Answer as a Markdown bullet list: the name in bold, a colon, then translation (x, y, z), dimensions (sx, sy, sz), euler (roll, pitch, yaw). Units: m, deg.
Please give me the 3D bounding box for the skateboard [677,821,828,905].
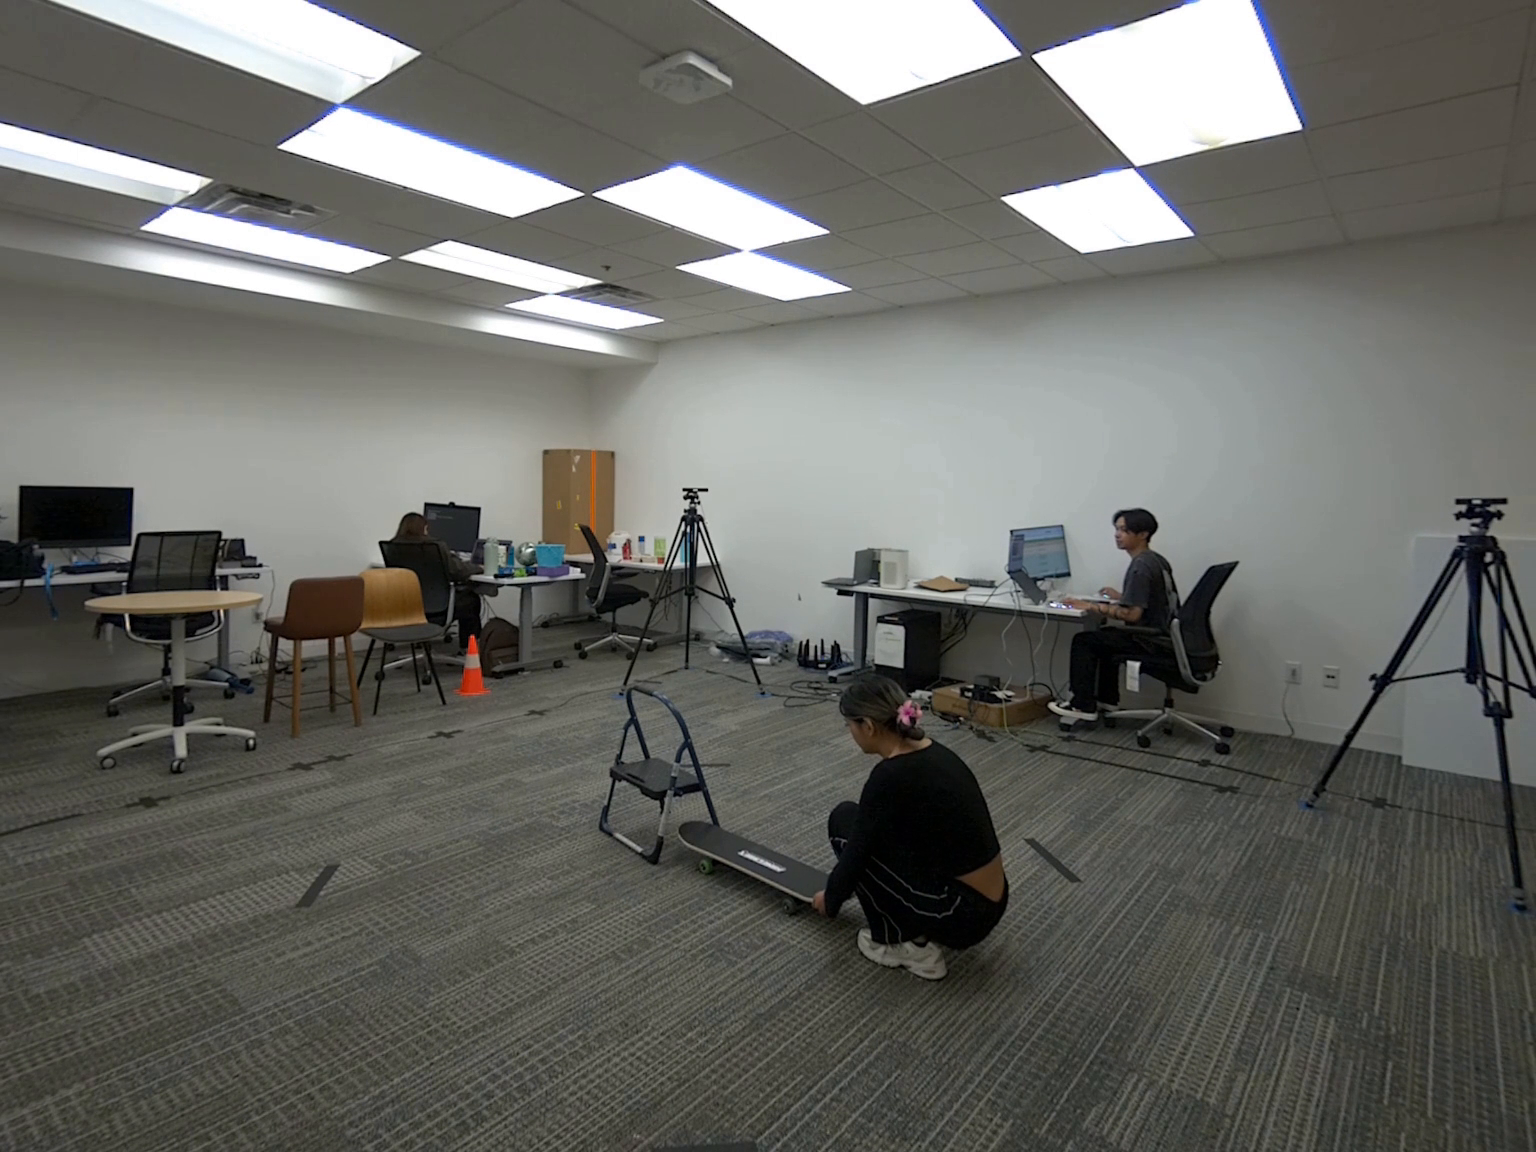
- **skateboard**: translation (-0.036, 1.028, 2.986), dimensions (0.813, 0.110, 0.188), euler (7, 8, 44)
